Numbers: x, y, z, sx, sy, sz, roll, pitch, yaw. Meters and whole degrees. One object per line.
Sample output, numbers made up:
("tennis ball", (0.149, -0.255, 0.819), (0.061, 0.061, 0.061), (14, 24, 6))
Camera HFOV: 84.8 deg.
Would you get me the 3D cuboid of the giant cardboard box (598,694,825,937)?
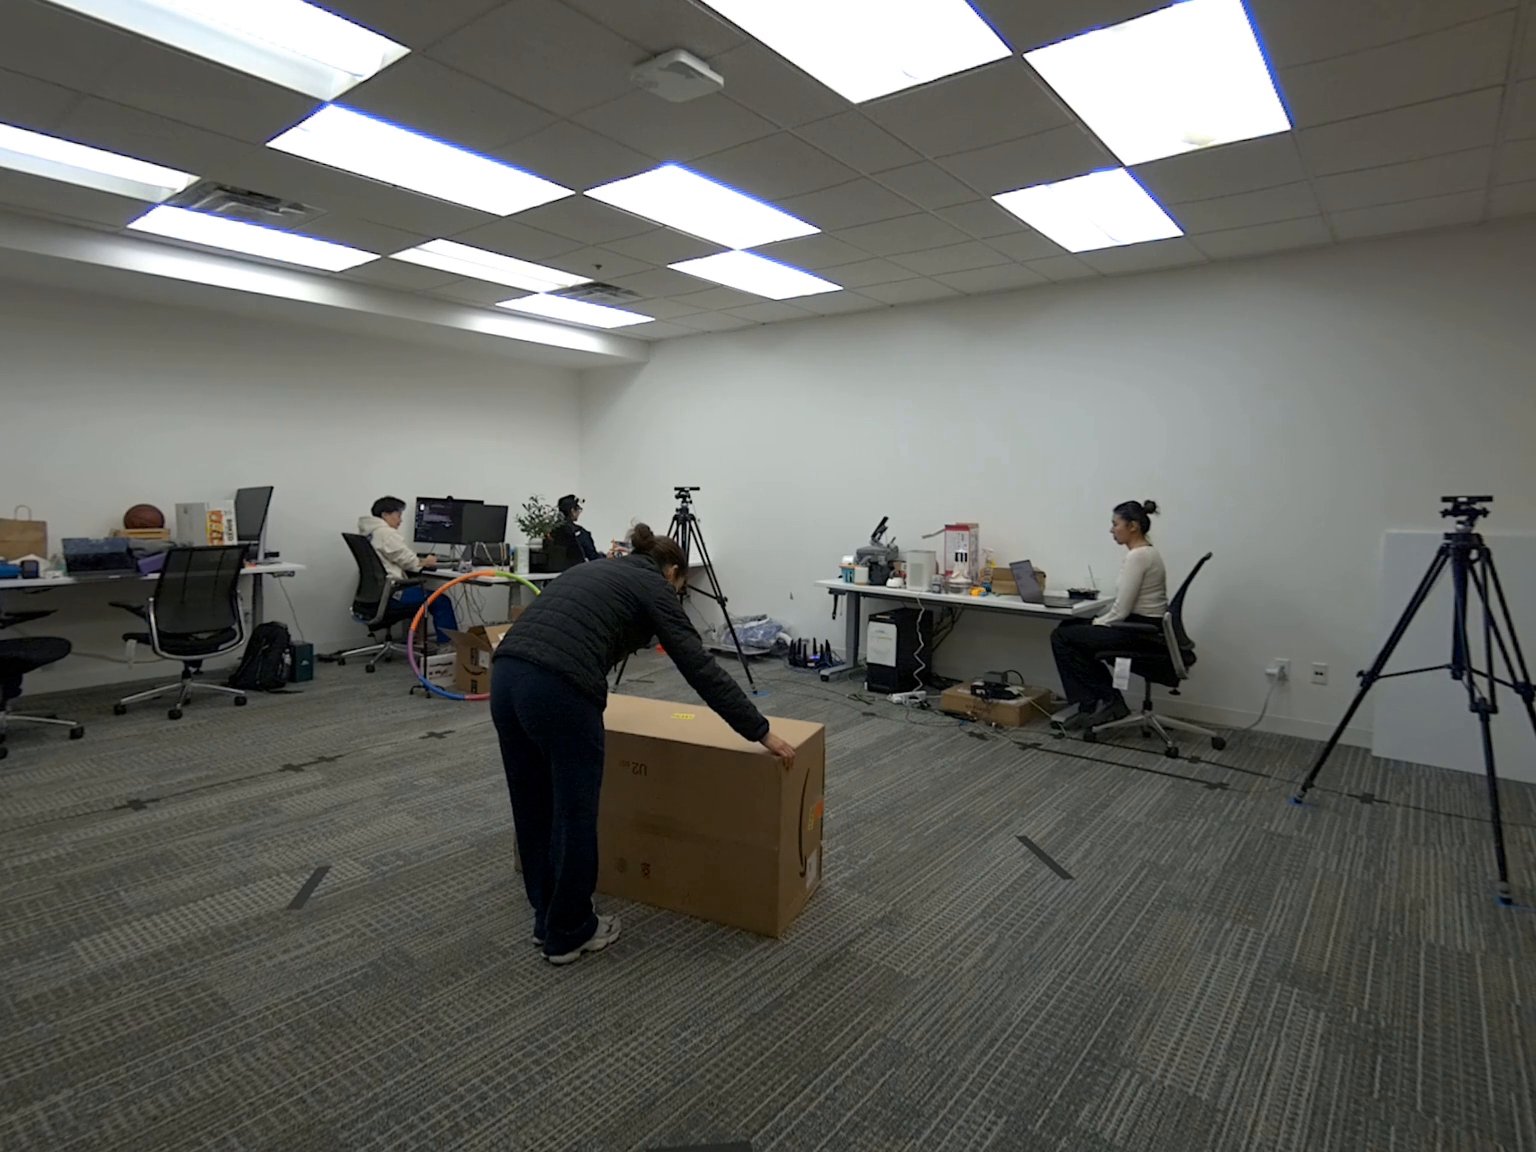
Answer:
("giant cardboard box", (-0.334, 0.785, 3.027), (1.054, 0.582, 0.437), (4, 4, 25))
